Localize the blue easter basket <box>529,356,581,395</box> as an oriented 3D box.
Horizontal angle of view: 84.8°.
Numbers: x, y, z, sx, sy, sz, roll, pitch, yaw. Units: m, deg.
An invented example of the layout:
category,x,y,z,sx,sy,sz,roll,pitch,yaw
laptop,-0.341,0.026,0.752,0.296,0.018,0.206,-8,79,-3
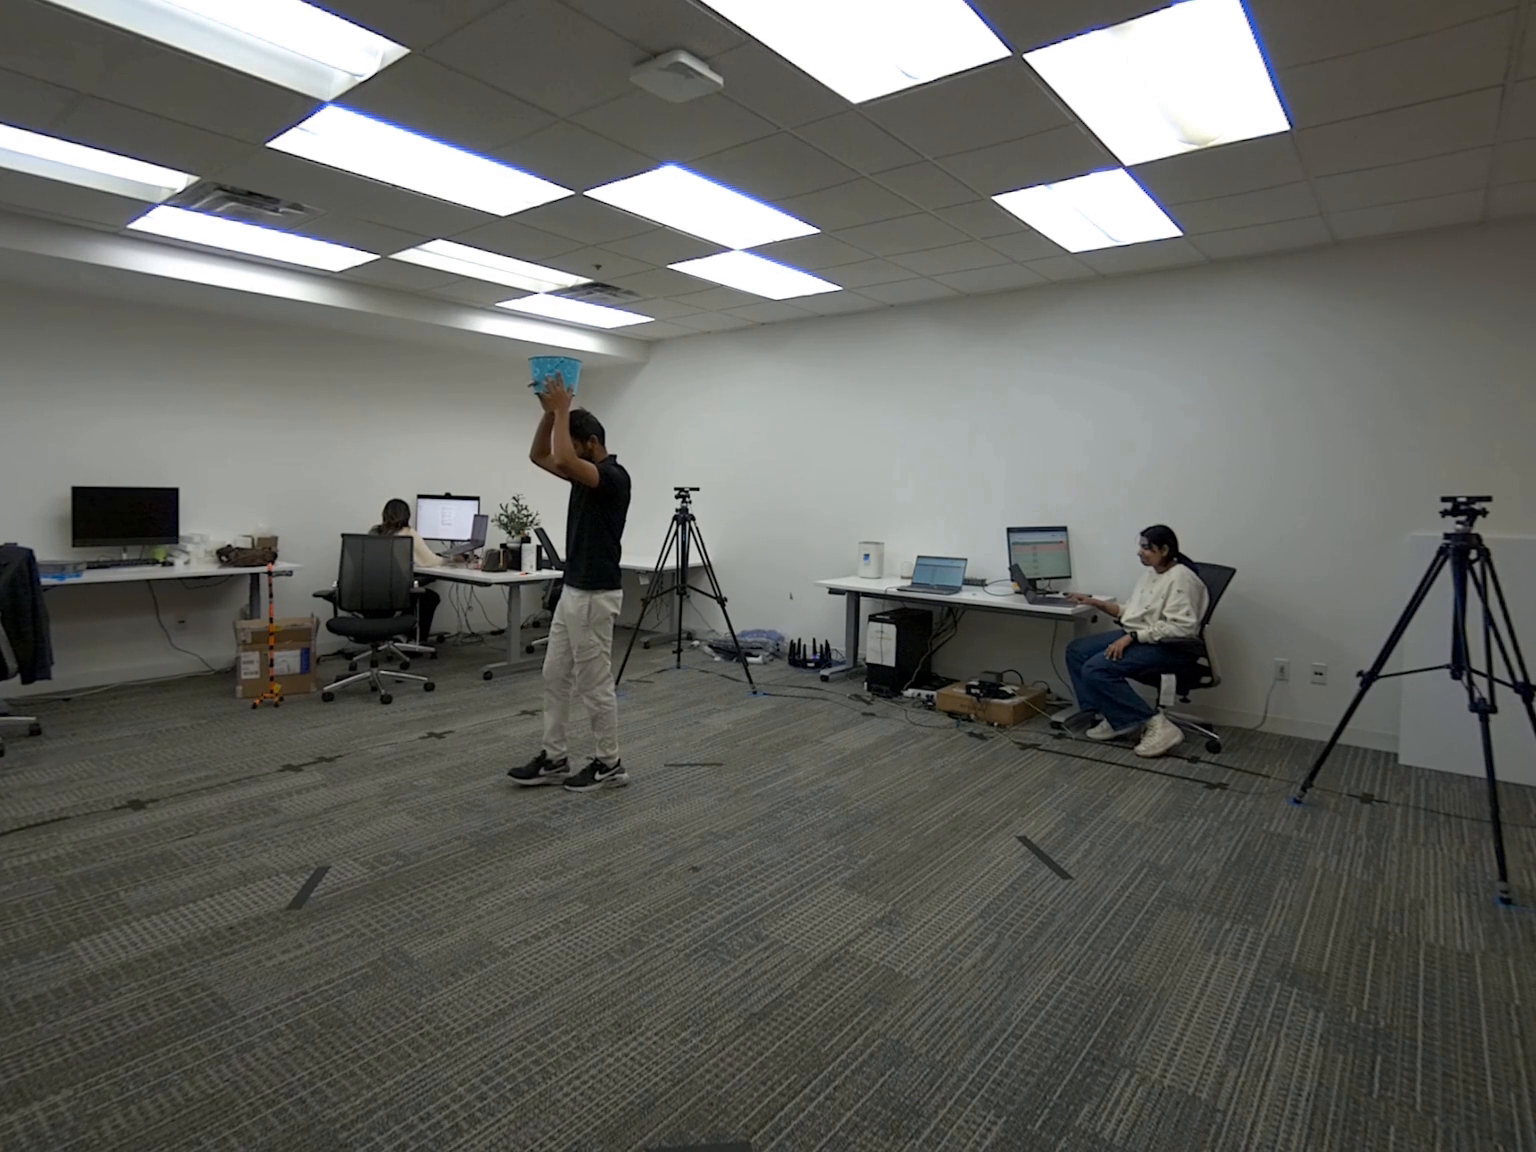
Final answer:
category,x,y,z,sx,sy,sz,roll,pitch,yaw
blue easter basket,-0.969,-0.880,3.755,0.243,0.155,0.244,-1,3,-2
